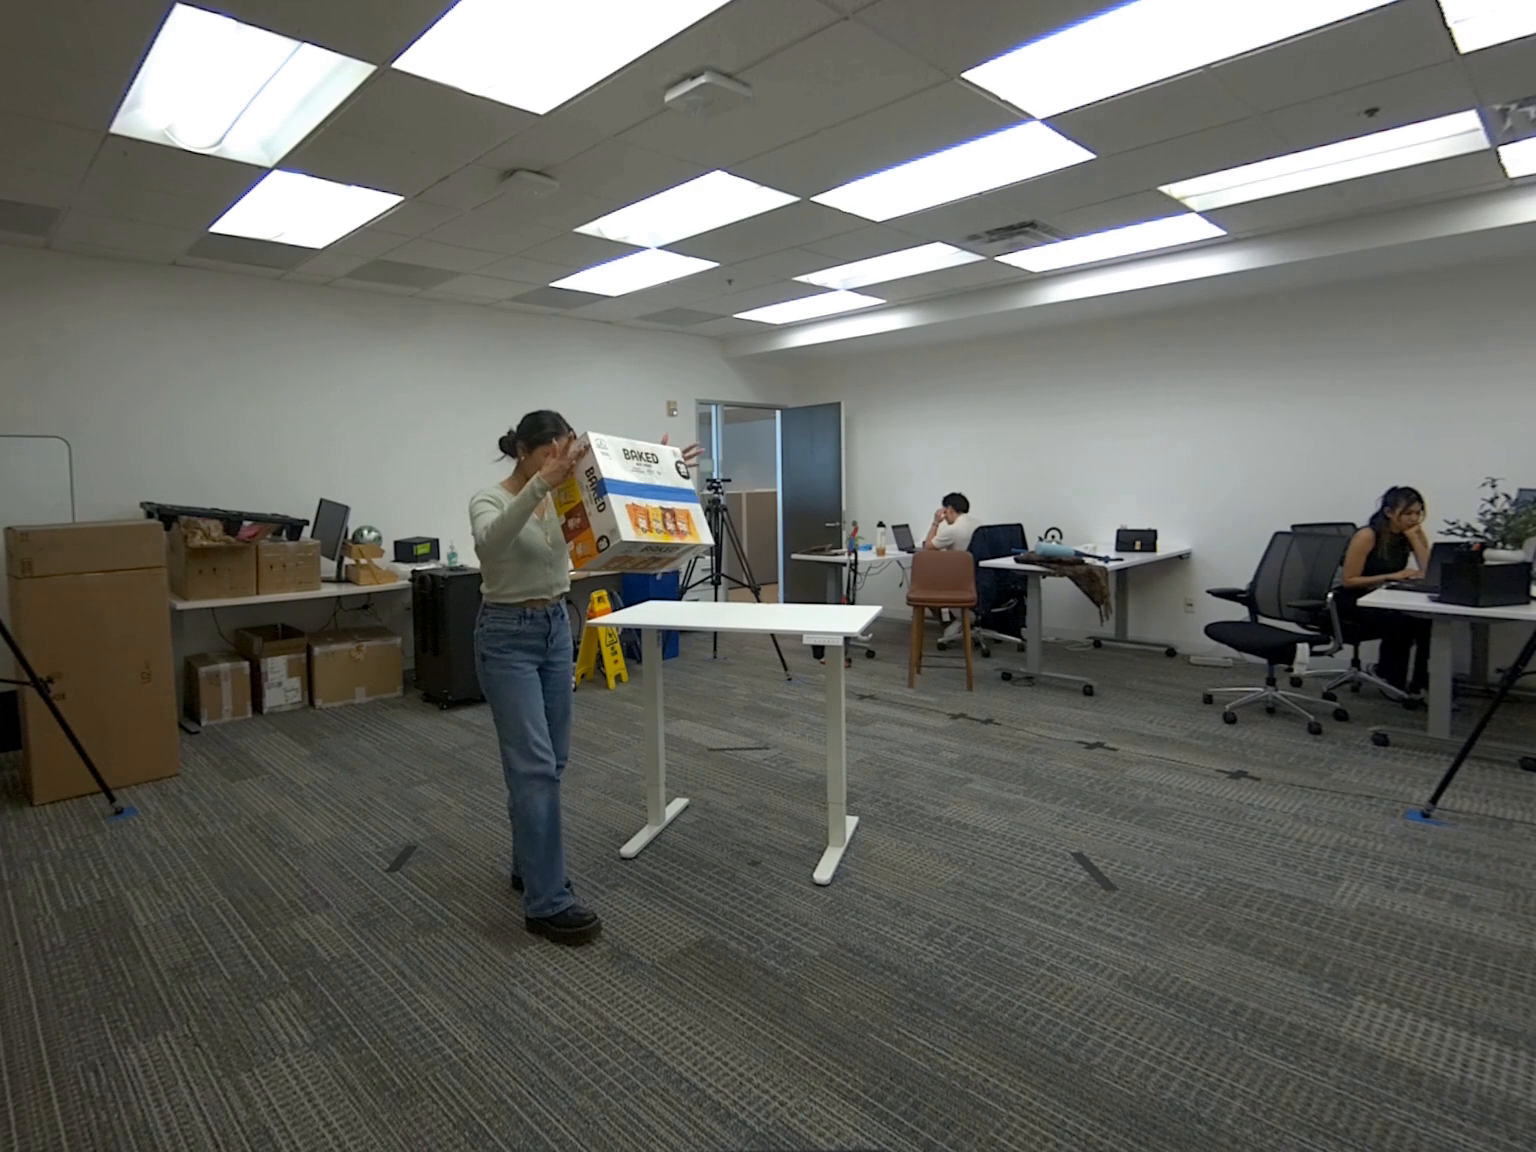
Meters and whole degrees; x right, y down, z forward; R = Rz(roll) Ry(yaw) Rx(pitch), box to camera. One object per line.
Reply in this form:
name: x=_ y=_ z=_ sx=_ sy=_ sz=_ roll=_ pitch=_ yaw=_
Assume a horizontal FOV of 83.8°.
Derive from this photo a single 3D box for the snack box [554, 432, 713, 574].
snack box: x=-0.404 y=-0.206 z=2.524 sx=0.207 sy=0.347 sz=0.393 roll=-32 pitch=-19 yaw=31
